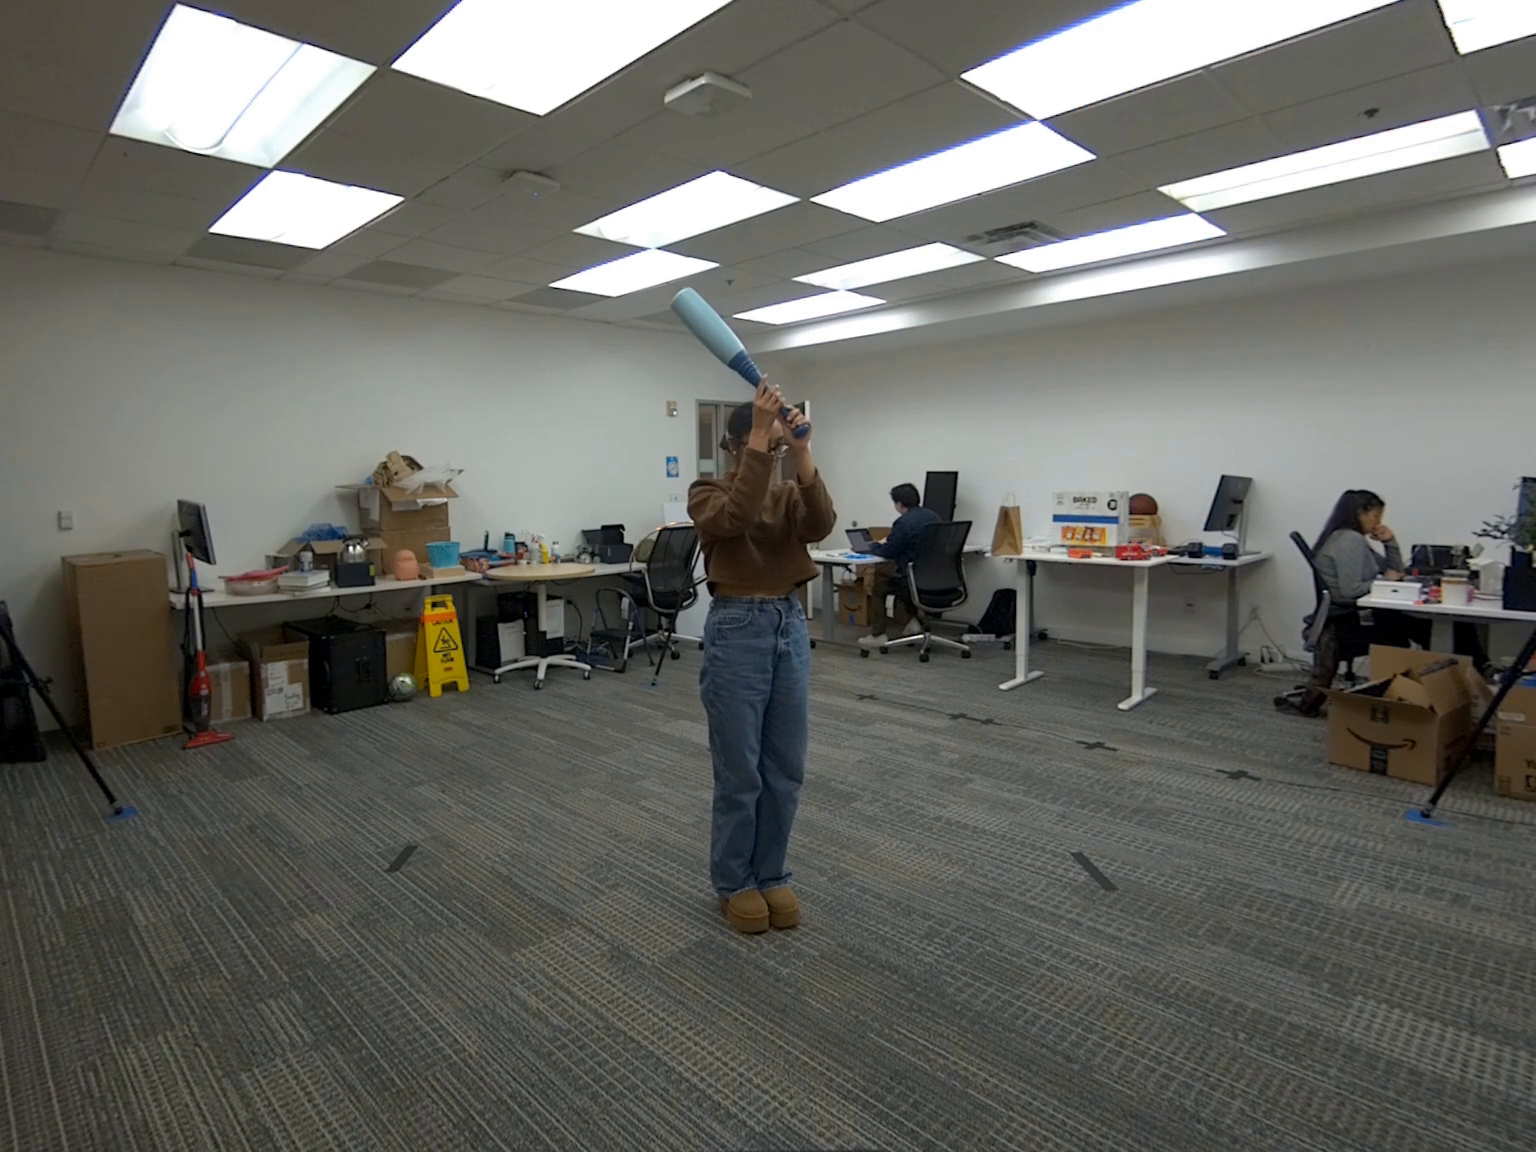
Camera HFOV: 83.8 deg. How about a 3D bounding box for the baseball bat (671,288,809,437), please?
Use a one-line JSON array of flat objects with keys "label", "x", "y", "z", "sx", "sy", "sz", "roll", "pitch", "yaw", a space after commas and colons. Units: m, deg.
[{"label": "baseball bat", "x": -0.072, "y": -0.606, "z": 2.438, "sx": 0.089, "sy": 0.547, "sz": 0.088, "roll": -41, "pitch": -5, "yaw": -5}]
